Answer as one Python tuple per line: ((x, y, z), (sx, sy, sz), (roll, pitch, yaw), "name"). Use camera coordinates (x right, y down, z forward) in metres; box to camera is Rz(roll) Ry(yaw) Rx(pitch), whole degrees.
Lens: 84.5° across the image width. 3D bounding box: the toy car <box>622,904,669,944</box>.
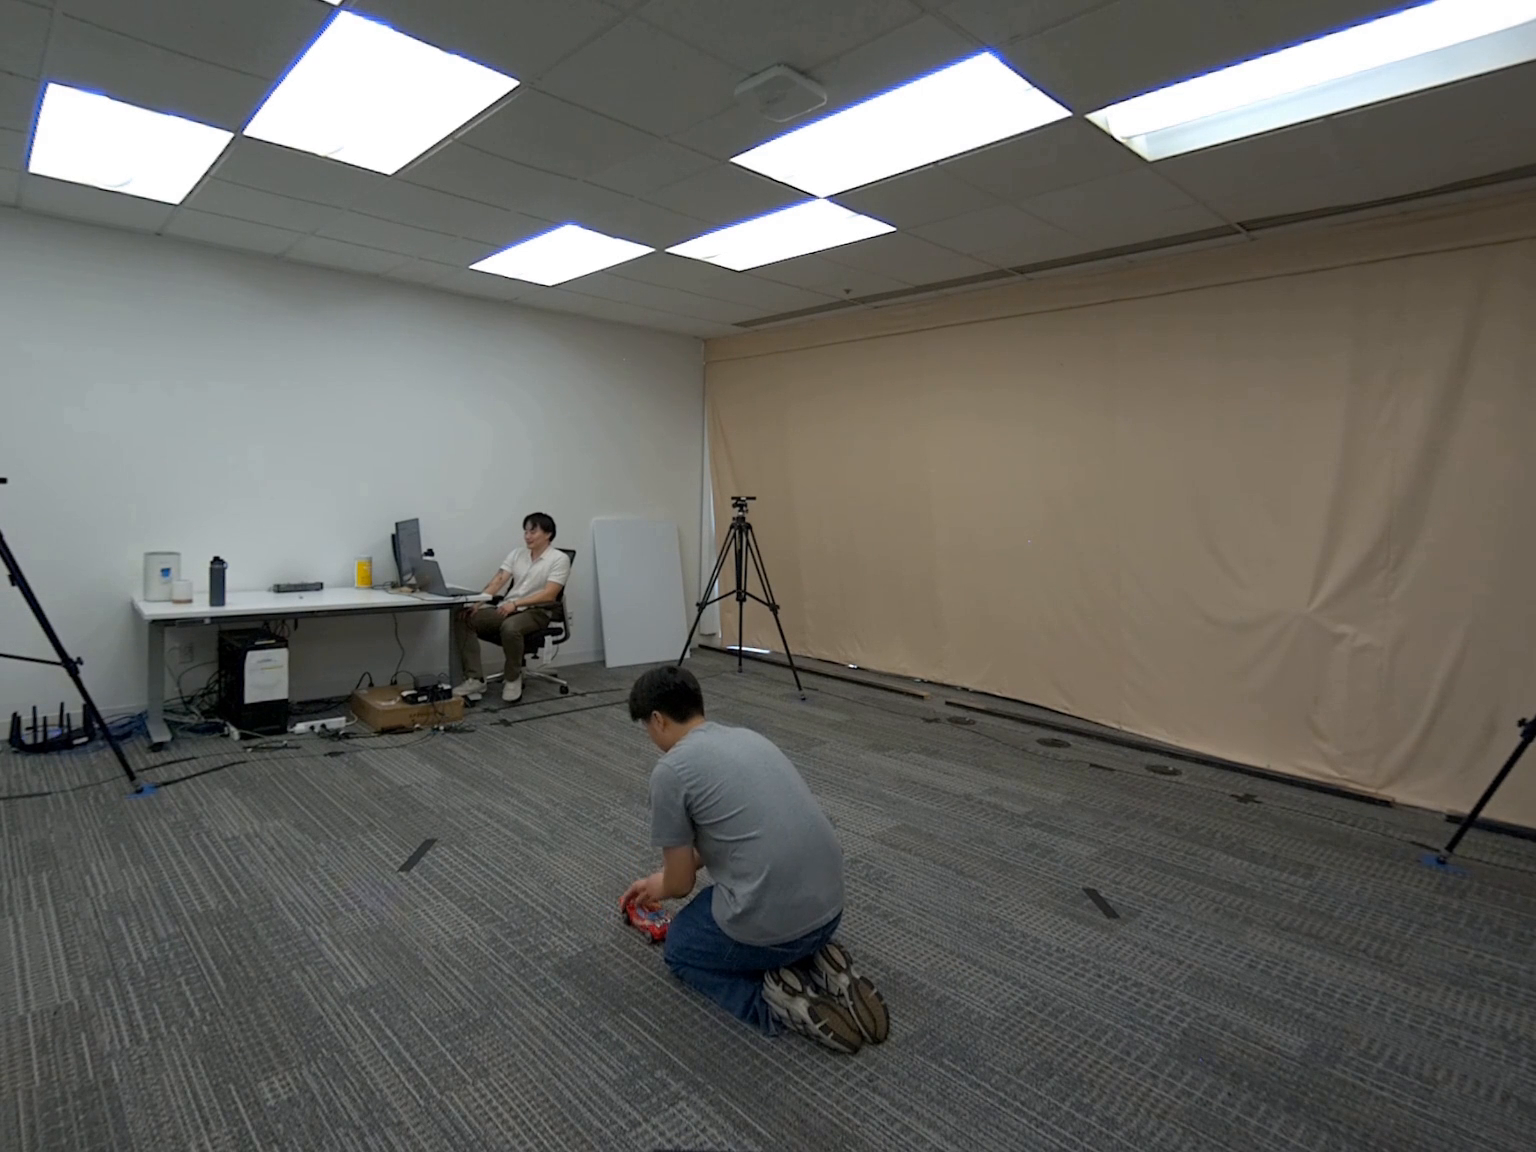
((-0.392, 1.101, 2.723), (0.127, 0.082, 0.262), (-3, 18, -35), "toy car")
